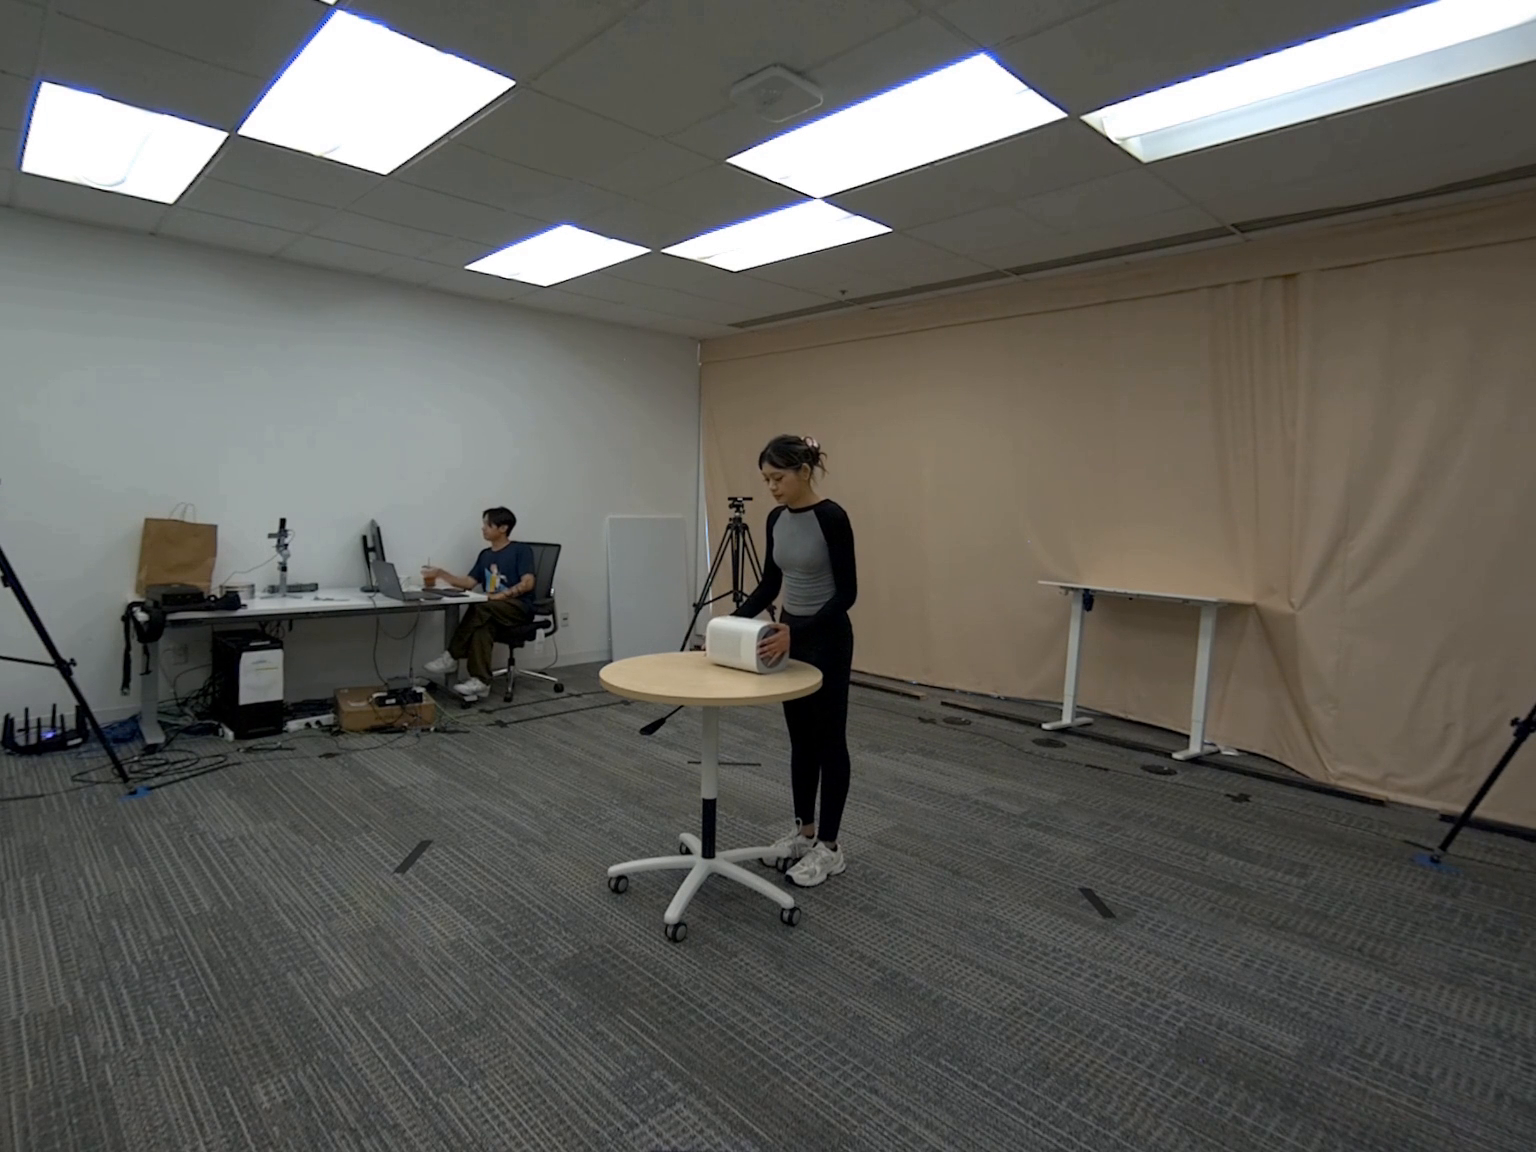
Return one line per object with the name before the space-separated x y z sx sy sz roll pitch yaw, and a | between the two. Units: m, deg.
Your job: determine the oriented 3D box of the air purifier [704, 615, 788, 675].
air purifier | -0.086 0.238 2.977 0.272 0.171 0.167 5 4 42
